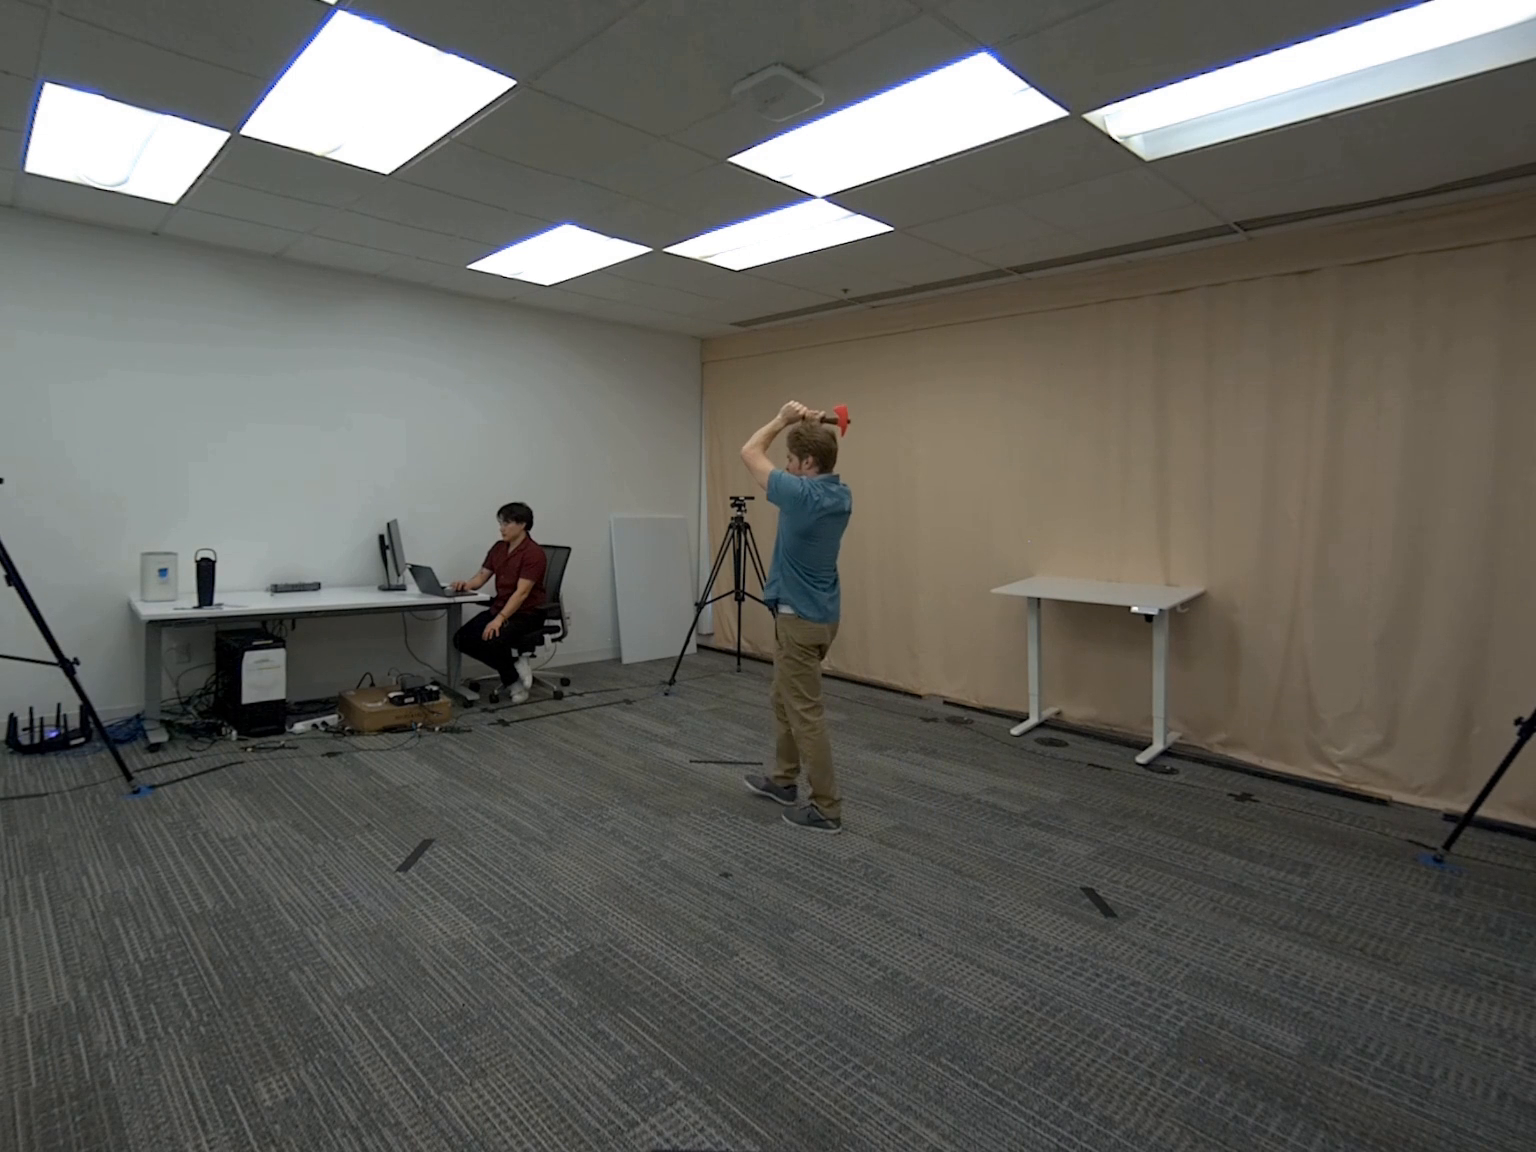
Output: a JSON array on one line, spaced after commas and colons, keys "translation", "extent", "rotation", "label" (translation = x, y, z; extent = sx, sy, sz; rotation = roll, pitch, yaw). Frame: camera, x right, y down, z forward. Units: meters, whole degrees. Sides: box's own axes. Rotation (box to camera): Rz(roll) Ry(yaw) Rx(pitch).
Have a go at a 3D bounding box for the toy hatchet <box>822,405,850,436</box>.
[{"translation": [0.216, -0.708, 3.625], "extent": [0.272, 0.130, 0.029], "rotation": [24, 18, 7], "label": "toy hatchet"}]
